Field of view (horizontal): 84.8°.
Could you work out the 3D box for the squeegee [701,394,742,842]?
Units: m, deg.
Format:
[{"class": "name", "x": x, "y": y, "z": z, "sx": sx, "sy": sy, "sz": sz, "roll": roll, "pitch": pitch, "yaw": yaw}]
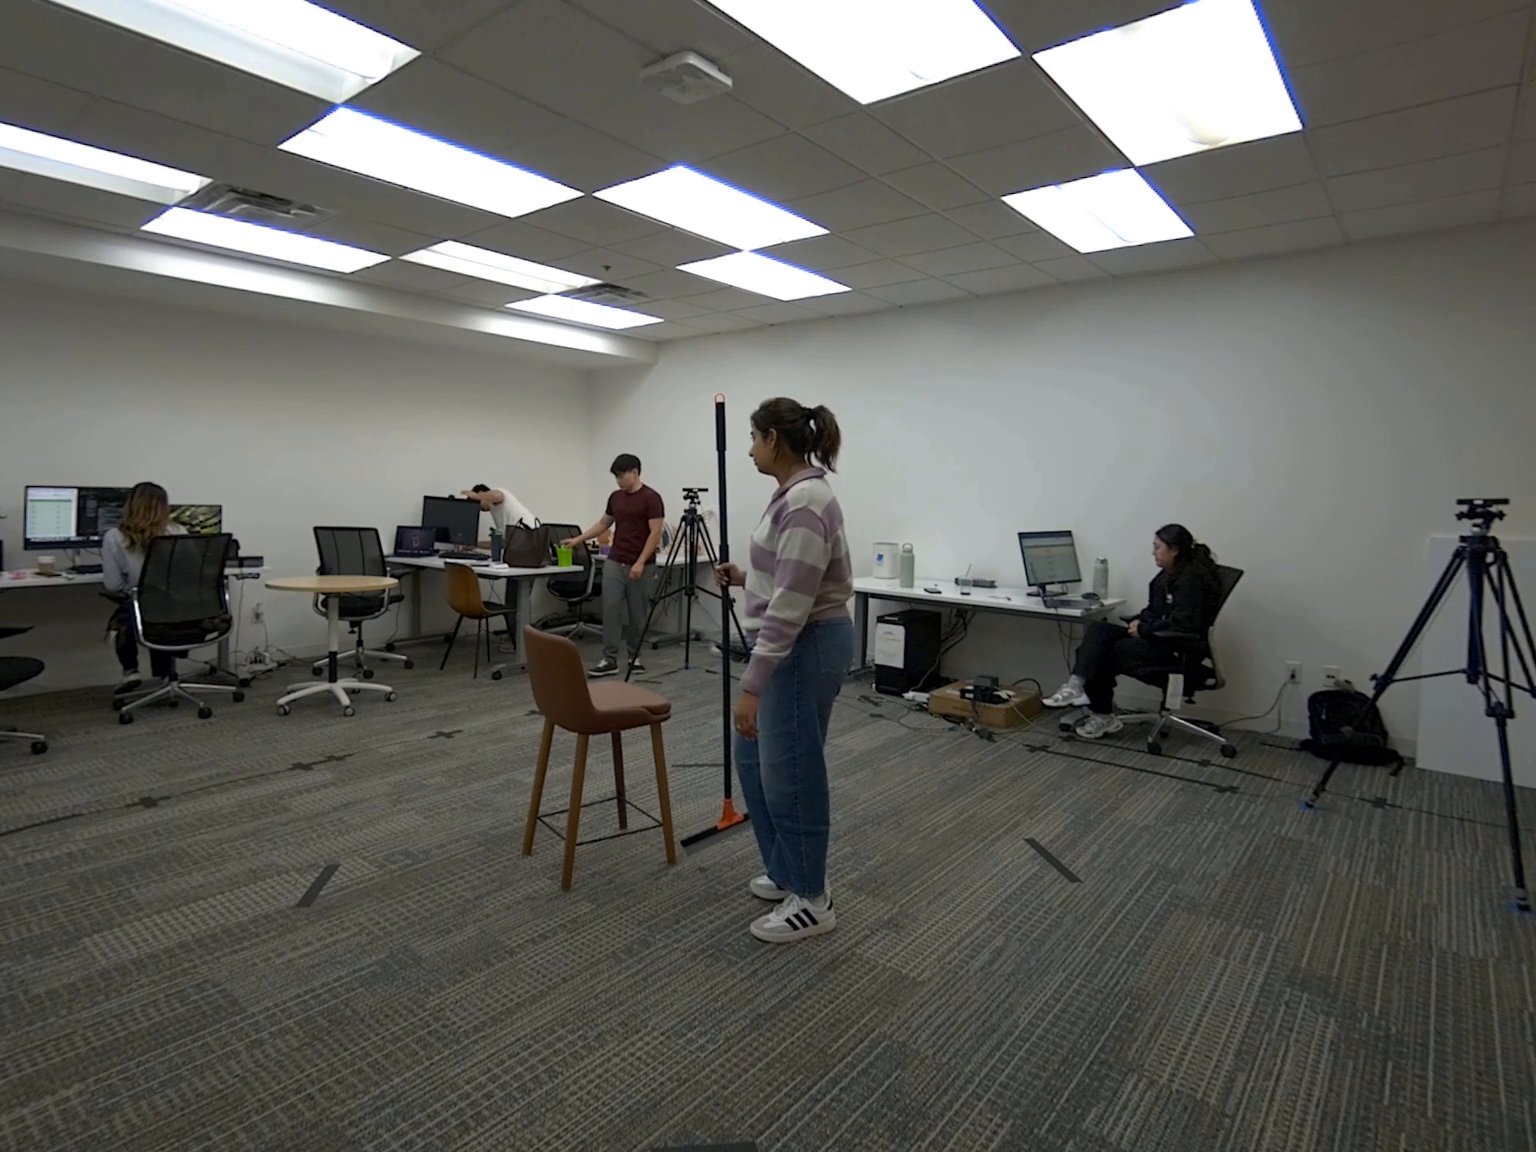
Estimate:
[{"class": "squeegee", "x": -0.165, "y": 0.157, "z": 2.954, "sx": 0.052, "sy": 1.528, "sz": 0.442, "roll": 0, "pitch": 6, "yaw": -7}]
